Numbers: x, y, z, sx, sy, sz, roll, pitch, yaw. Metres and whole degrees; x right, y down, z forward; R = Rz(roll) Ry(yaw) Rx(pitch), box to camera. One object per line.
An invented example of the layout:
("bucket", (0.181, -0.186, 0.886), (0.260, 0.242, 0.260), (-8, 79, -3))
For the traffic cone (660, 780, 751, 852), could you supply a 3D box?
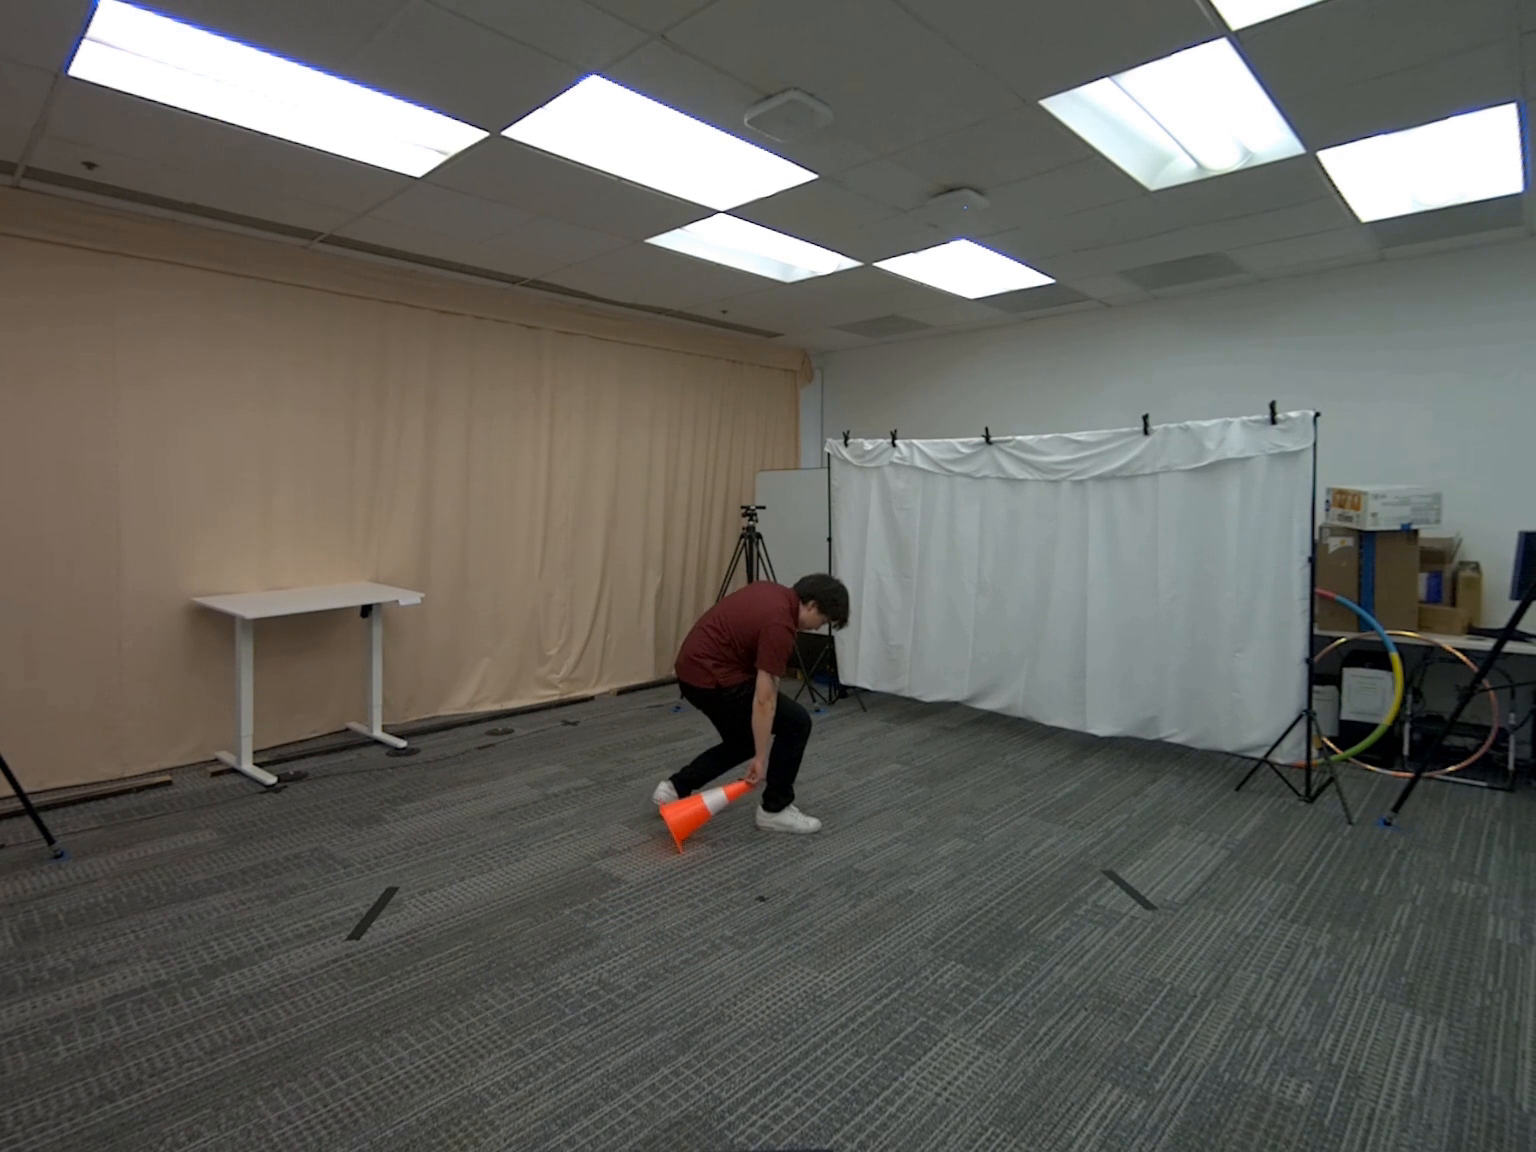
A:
("traffic cone", (-0.238, 0.938, 3.478), (0.381, 0.203, 0.207), (-23, 4, -9))
